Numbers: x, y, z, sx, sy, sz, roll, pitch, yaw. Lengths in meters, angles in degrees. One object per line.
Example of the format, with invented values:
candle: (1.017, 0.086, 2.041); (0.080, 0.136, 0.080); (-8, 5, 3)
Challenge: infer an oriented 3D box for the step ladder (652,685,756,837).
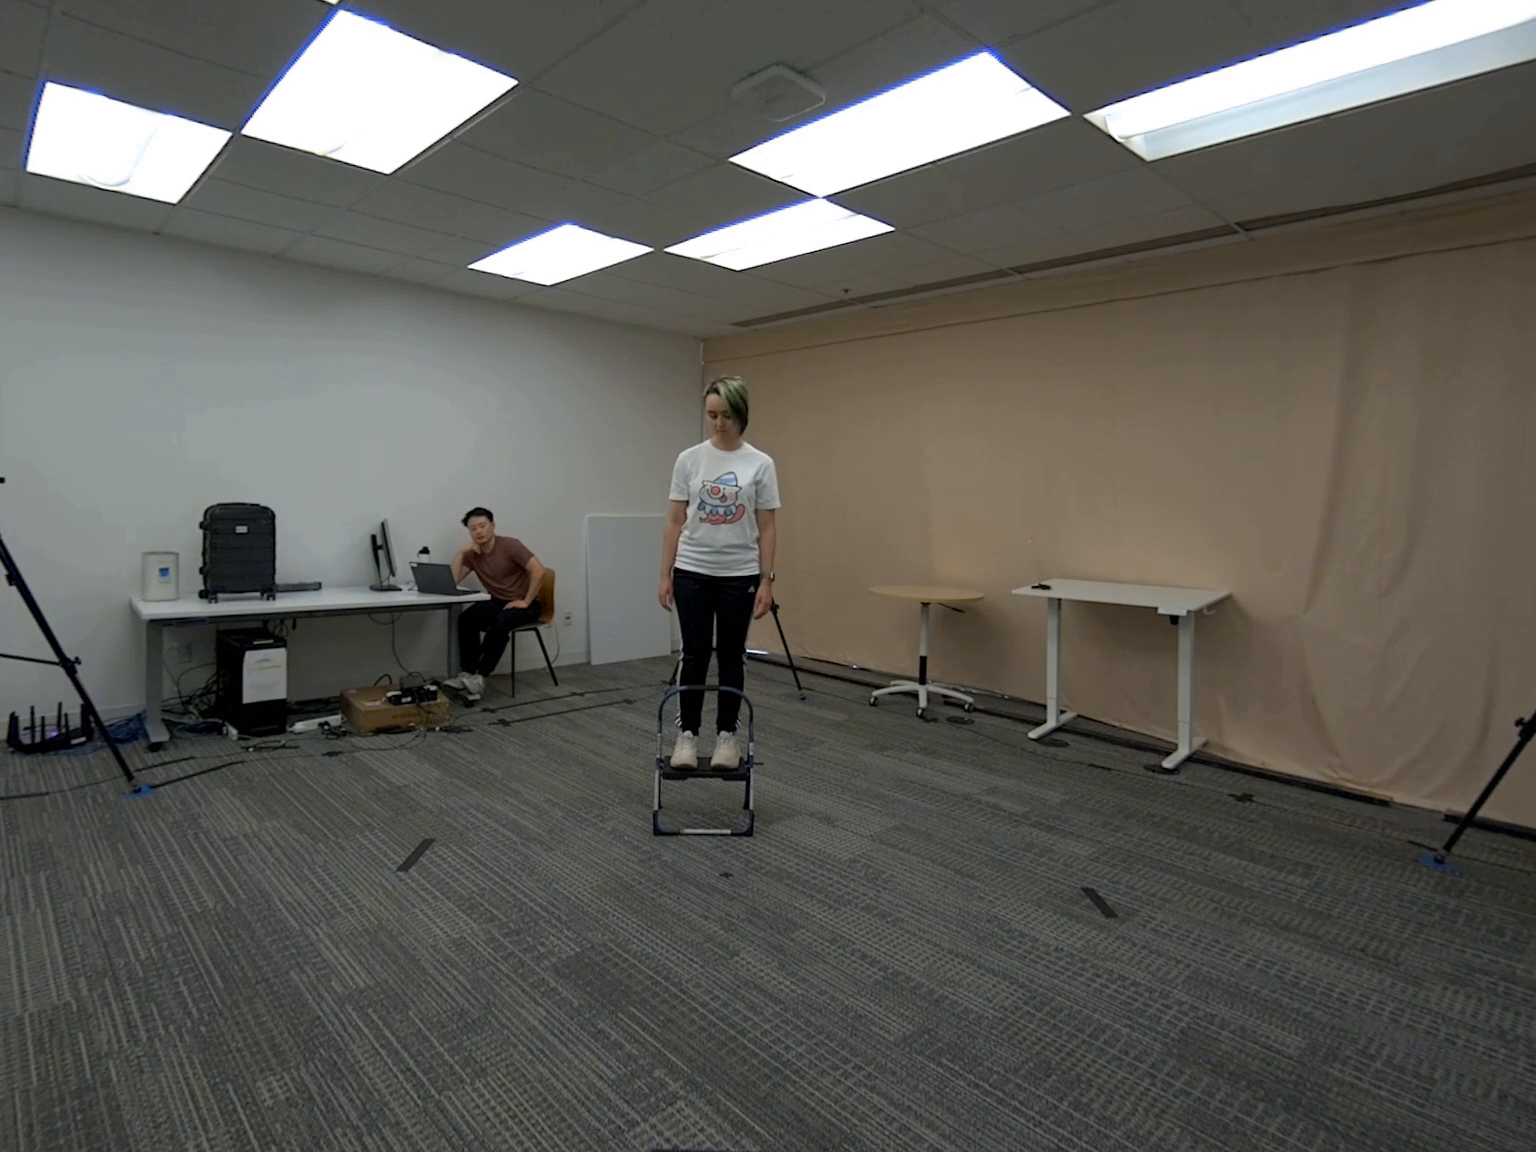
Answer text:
step ladder: (-0.282, 0.758, 3.614); (0.429, 0.605, 0.351); (1, 2, -4)
